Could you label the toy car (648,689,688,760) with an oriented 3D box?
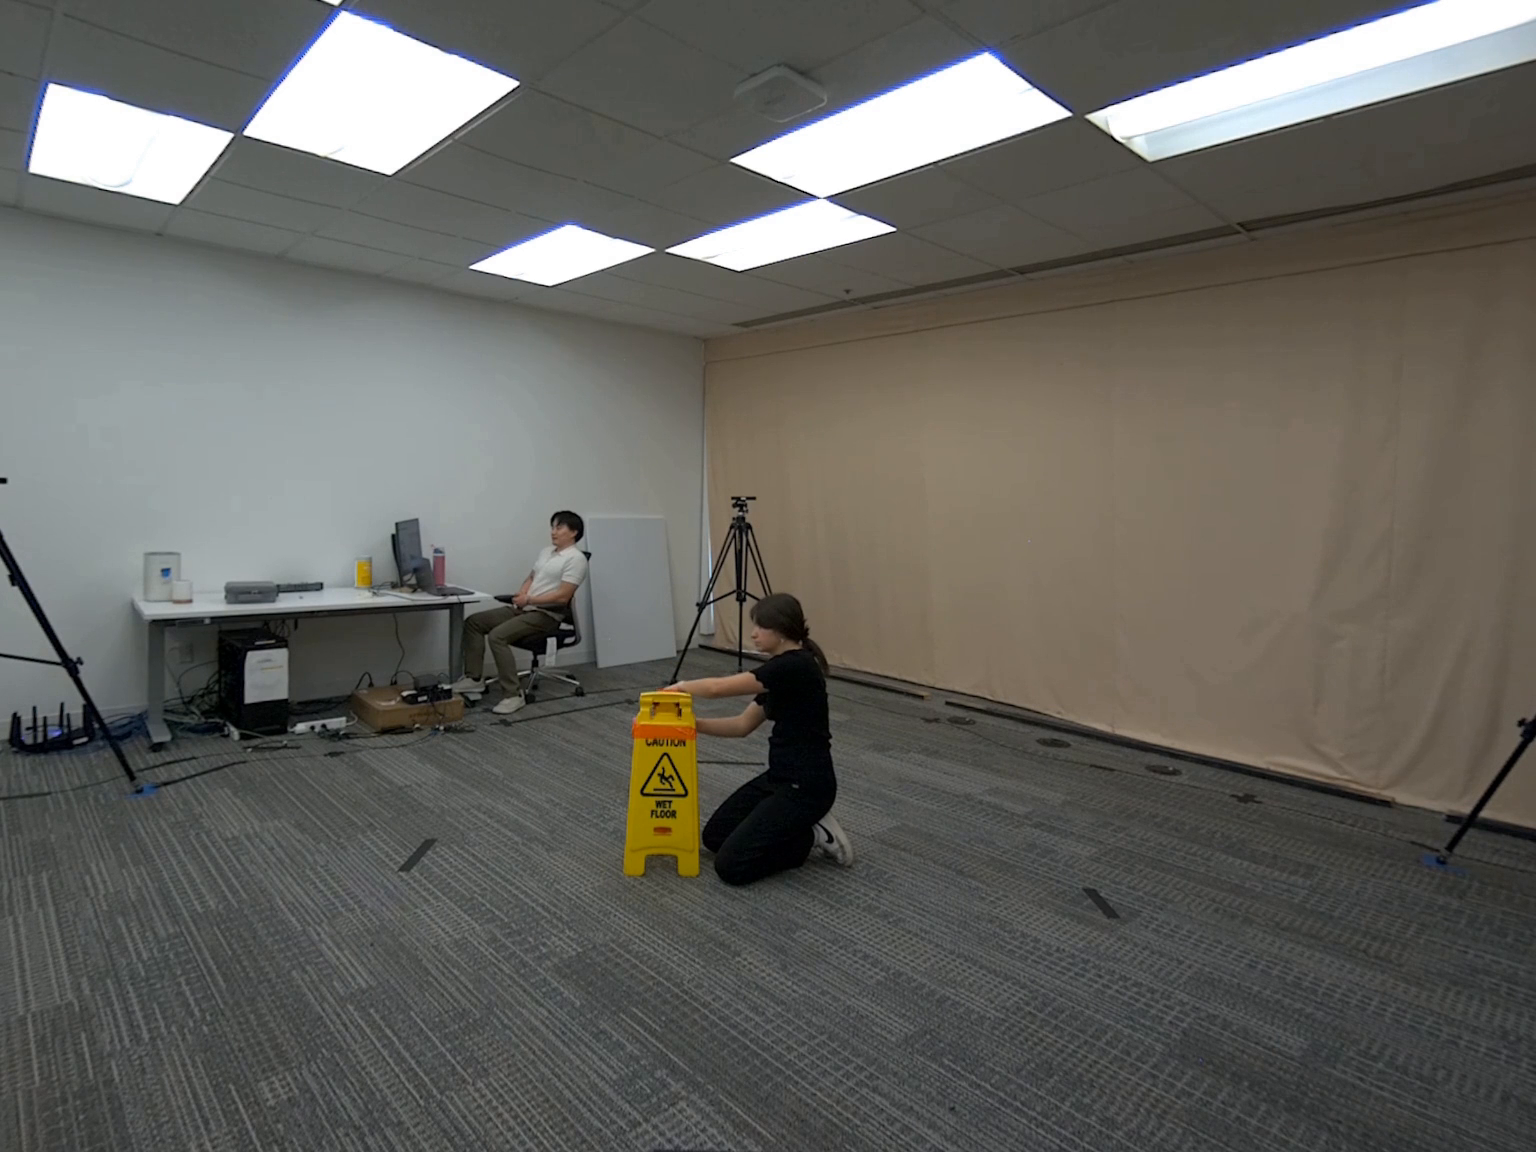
[{"bbox_3d":[-0.386,0.570,3.259,0.130,0.251,0.084,5,24,-3],"label":"toy car"}]
